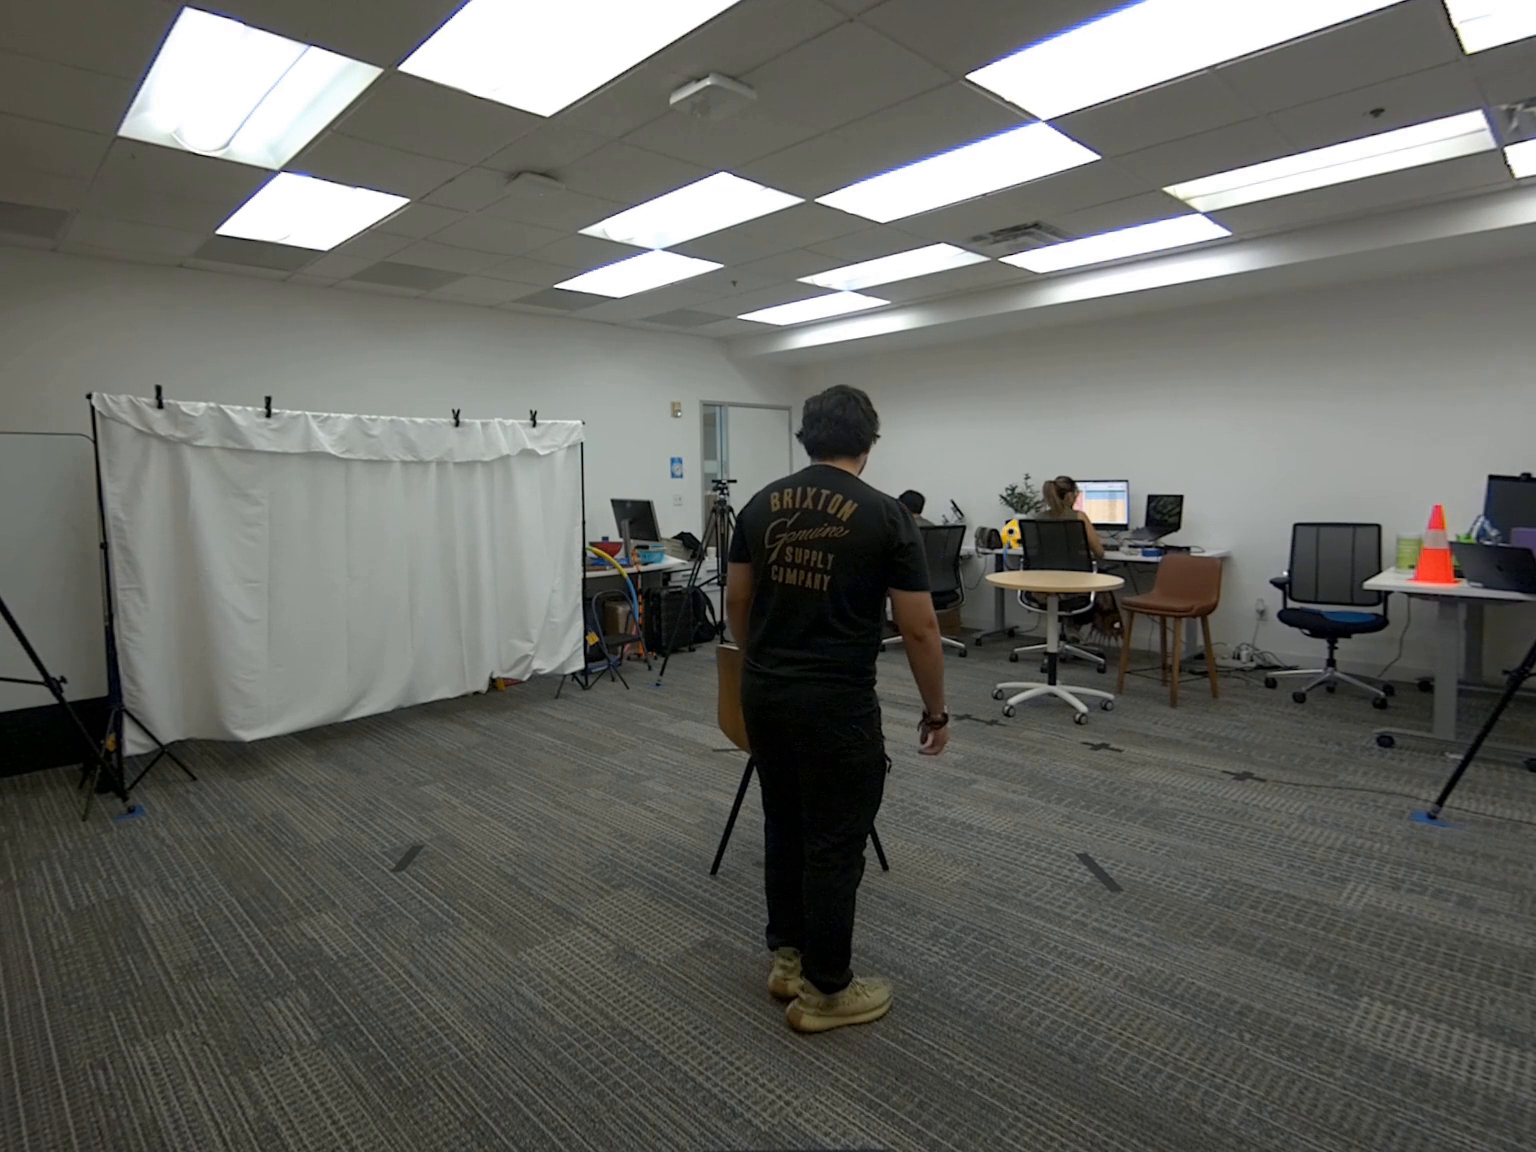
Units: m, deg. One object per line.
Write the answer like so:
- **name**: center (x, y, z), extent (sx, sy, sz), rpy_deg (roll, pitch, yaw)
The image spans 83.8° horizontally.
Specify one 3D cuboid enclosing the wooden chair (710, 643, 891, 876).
- **wooden chair**: center (0.112, 0.630, 3.008), extent (0.492, 0.871, 0.511), rpy_deg (2, 10, 43)
